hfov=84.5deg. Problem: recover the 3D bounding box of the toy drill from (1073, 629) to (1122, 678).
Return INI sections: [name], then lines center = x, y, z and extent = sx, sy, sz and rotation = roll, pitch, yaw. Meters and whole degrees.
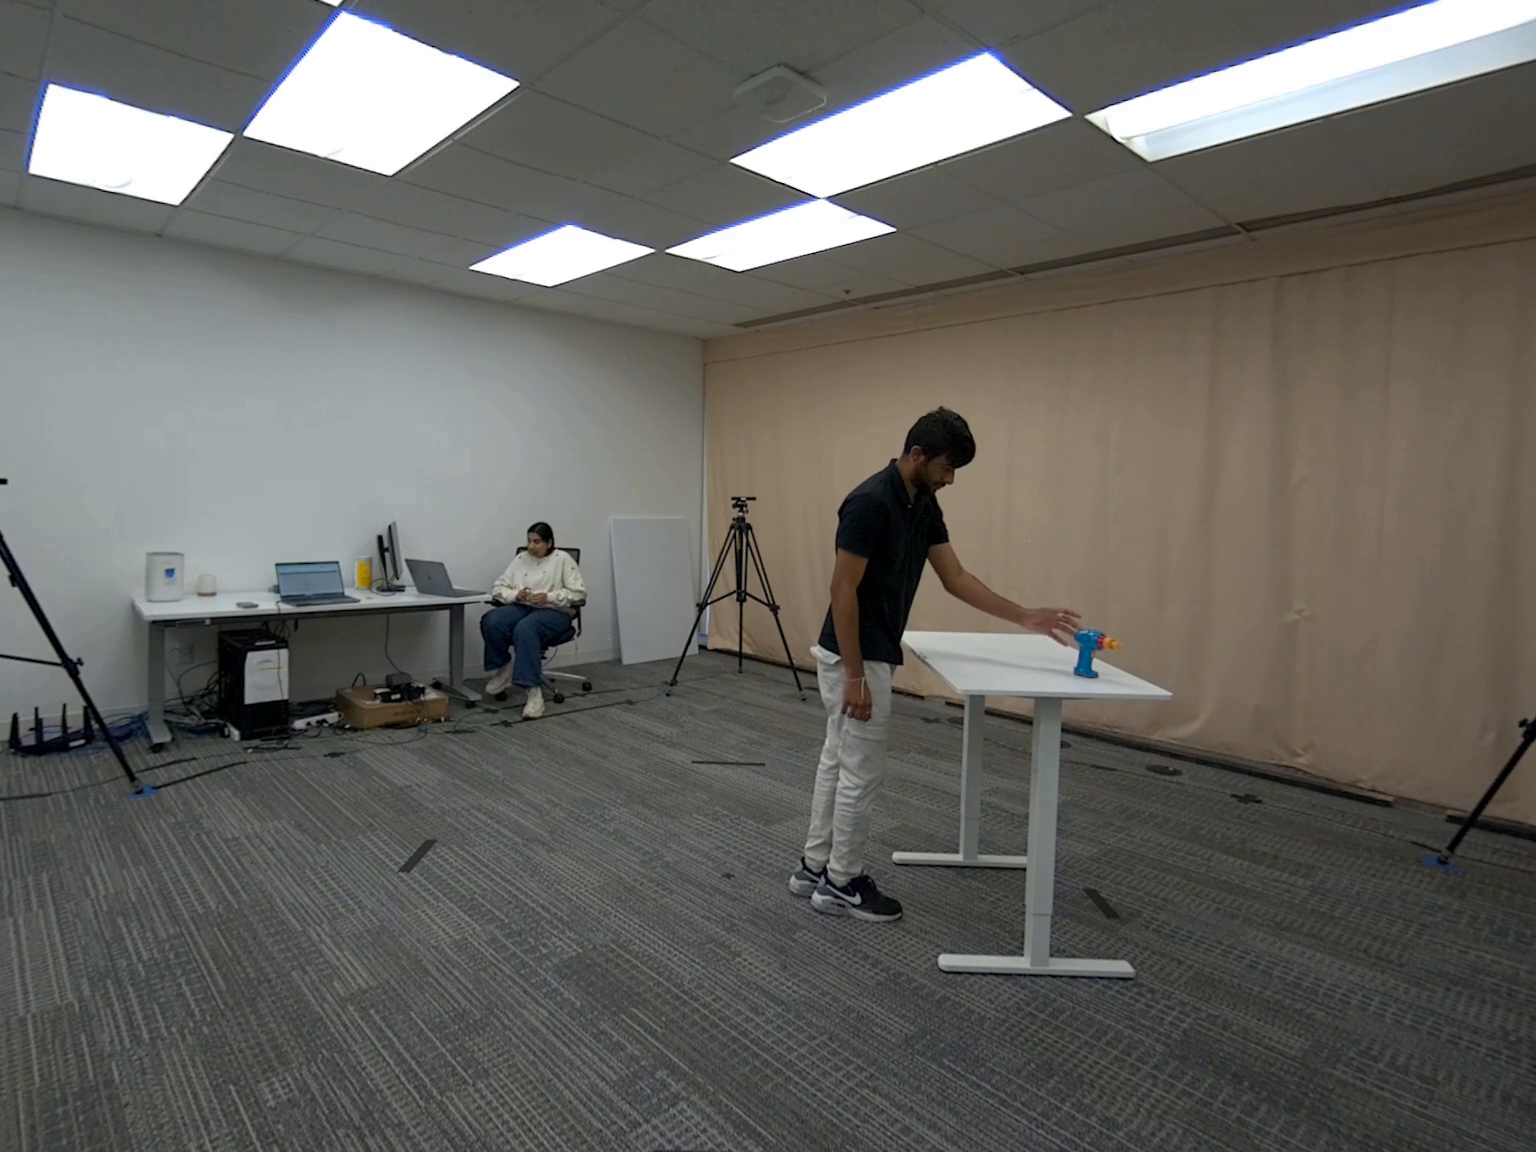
[toy drill]
center = 0.976, 0.235, 2.523
extent = 0.060, 0.145, 0.174
rotation = -1, 6, -29
